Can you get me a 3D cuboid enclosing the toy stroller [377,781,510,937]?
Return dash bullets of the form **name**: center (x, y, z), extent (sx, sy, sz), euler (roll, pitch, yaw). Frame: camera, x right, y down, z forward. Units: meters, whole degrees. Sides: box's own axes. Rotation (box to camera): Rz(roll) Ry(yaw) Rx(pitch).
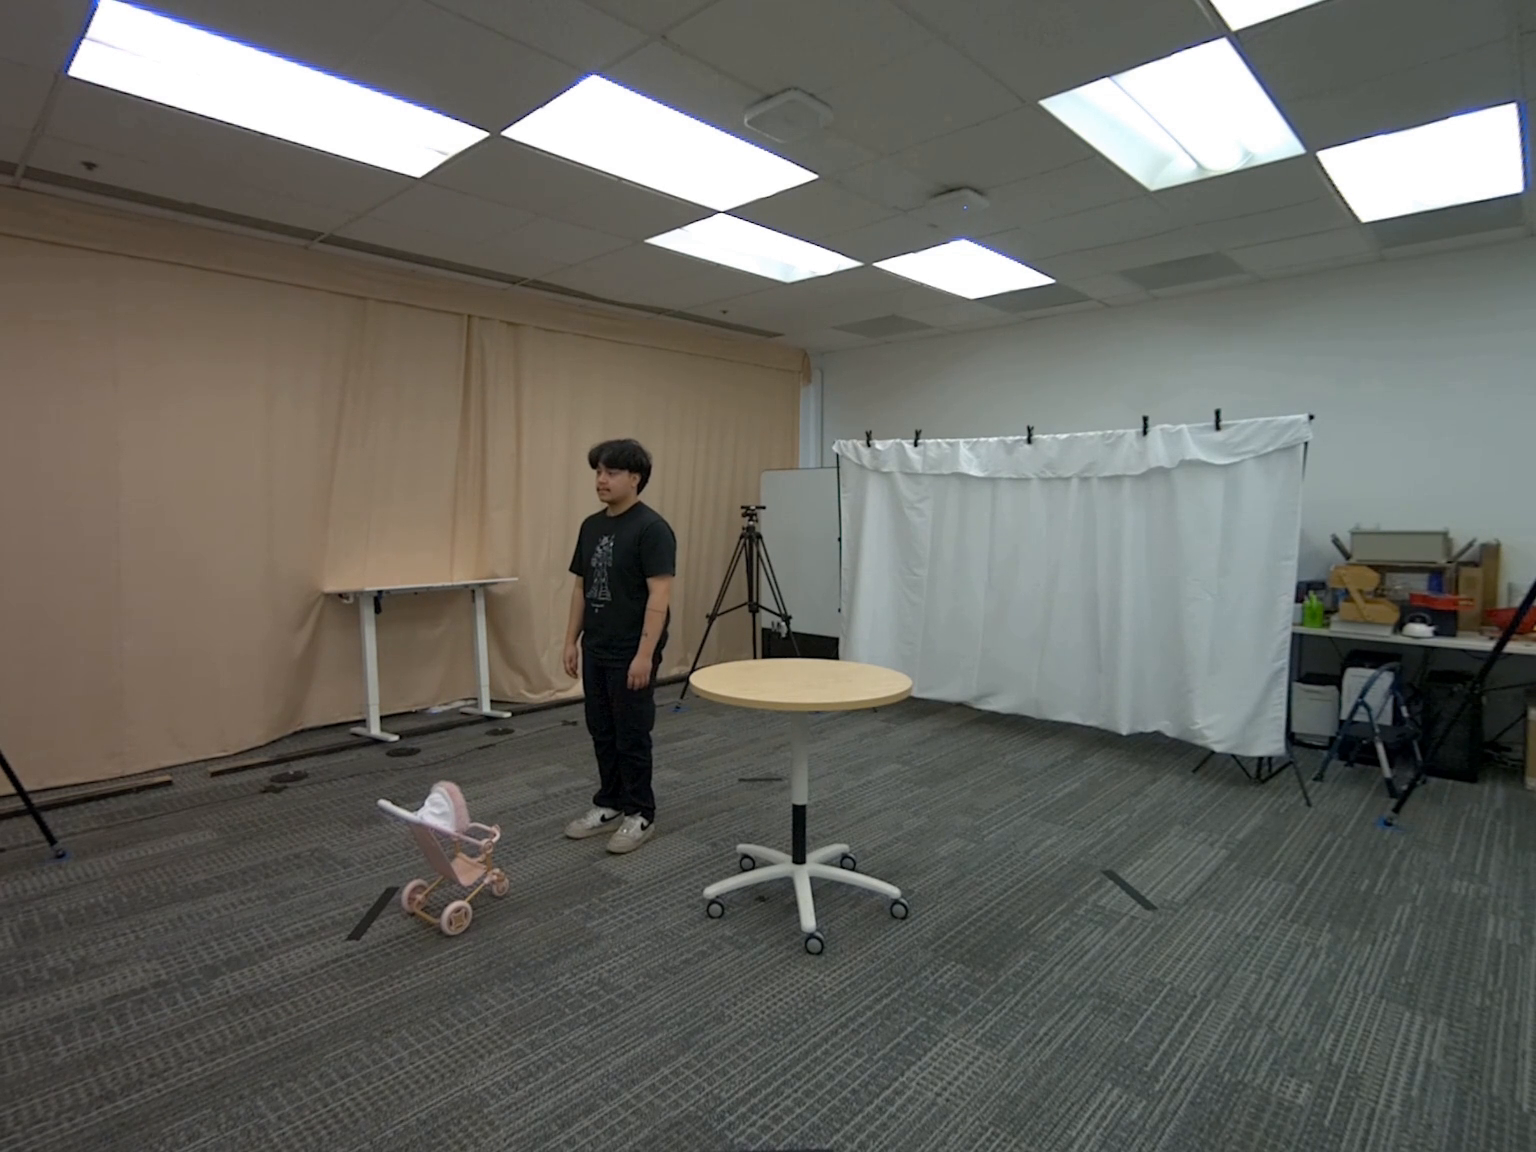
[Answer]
- **toy stroller**: center (-1.085, 0.942, 2.866), extent (0.291, 0.529, 0.334), euler (1, 18, 42)
